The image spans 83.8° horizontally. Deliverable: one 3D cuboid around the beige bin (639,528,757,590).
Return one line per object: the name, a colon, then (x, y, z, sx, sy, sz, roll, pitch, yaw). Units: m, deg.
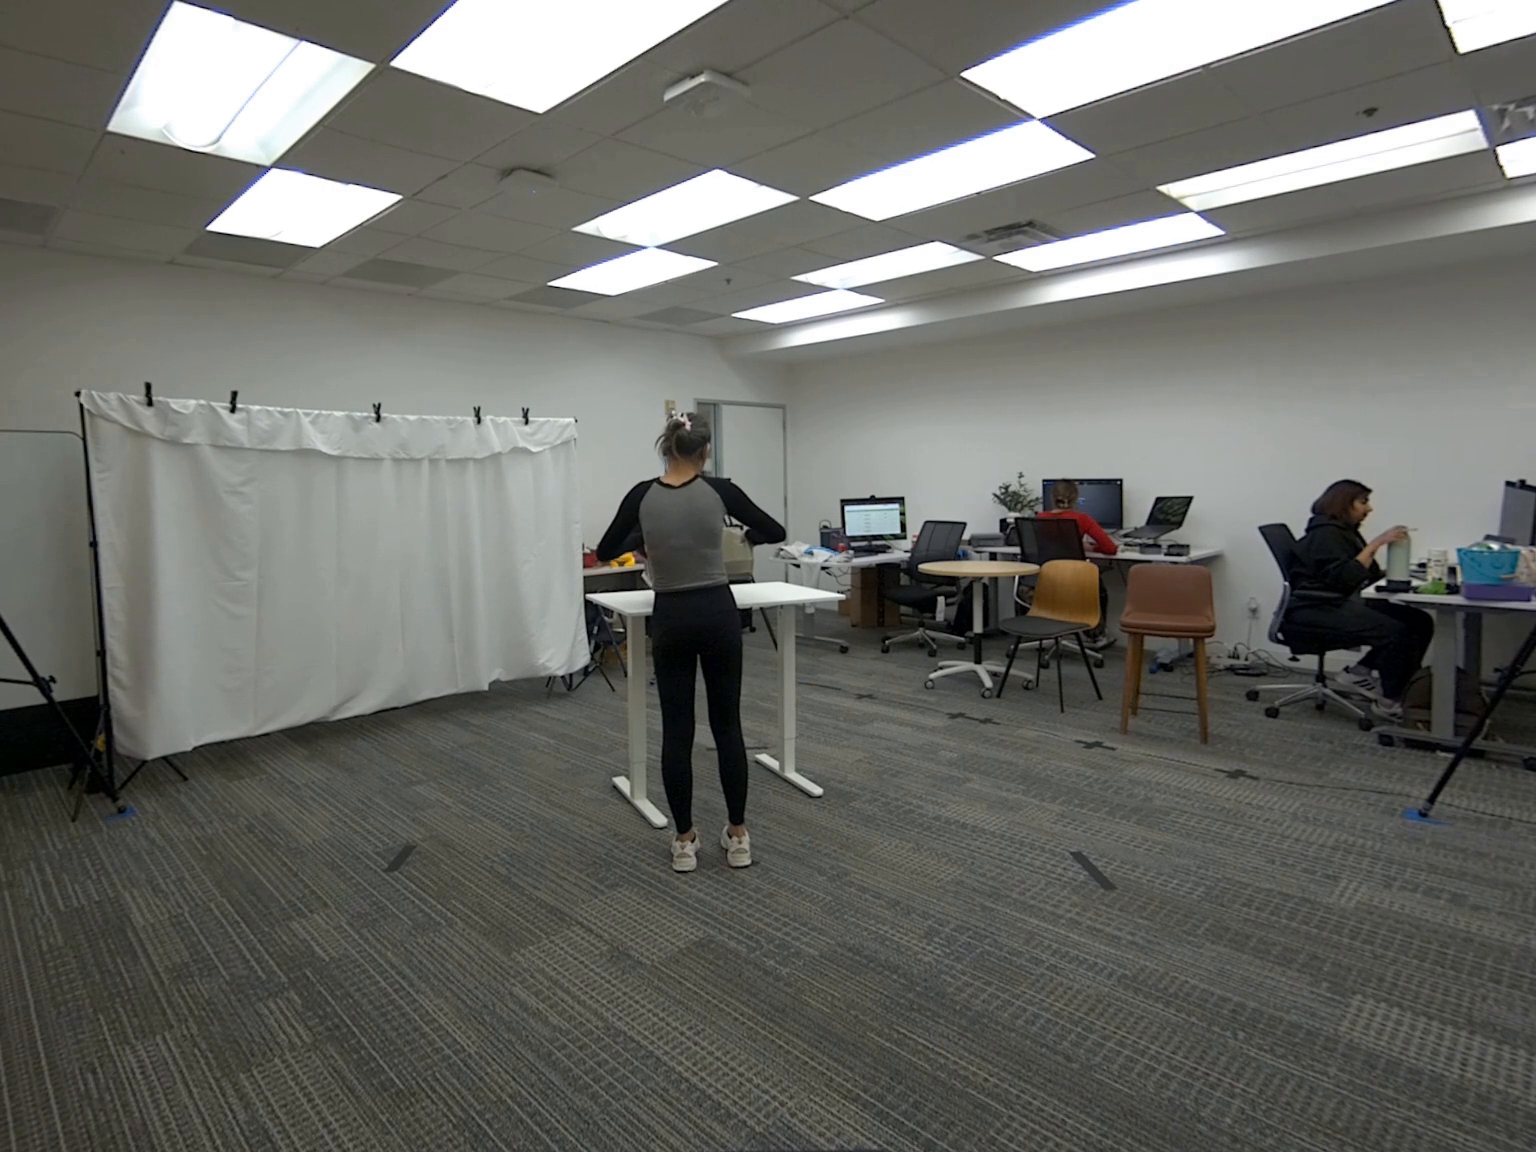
beige bin: (-0.304, -0.079, 3.541, 0.418, 0.188, 0.383, -5, 6, -11)
